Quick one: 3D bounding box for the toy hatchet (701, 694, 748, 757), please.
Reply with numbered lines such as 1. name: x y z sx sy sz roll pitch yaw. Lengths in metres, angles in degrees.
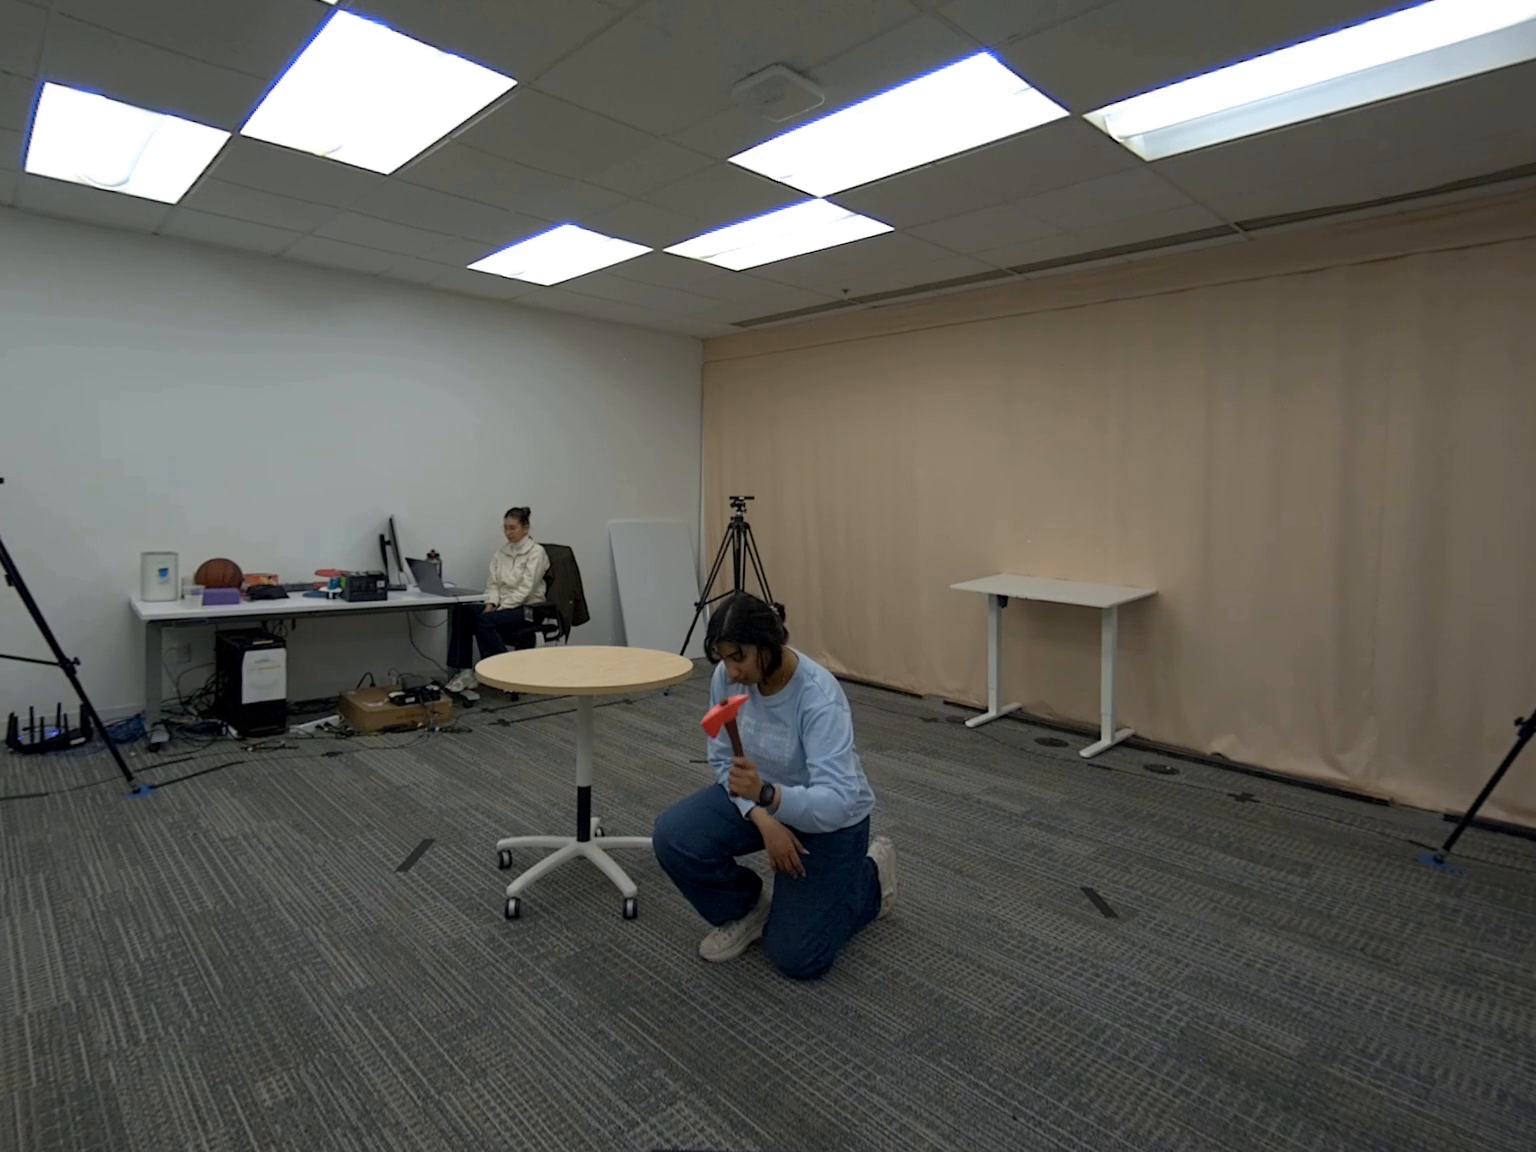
1. toy hatchet: -0.108 0.418 1.971 0.129 0.267 0.030 -15 21 -38
